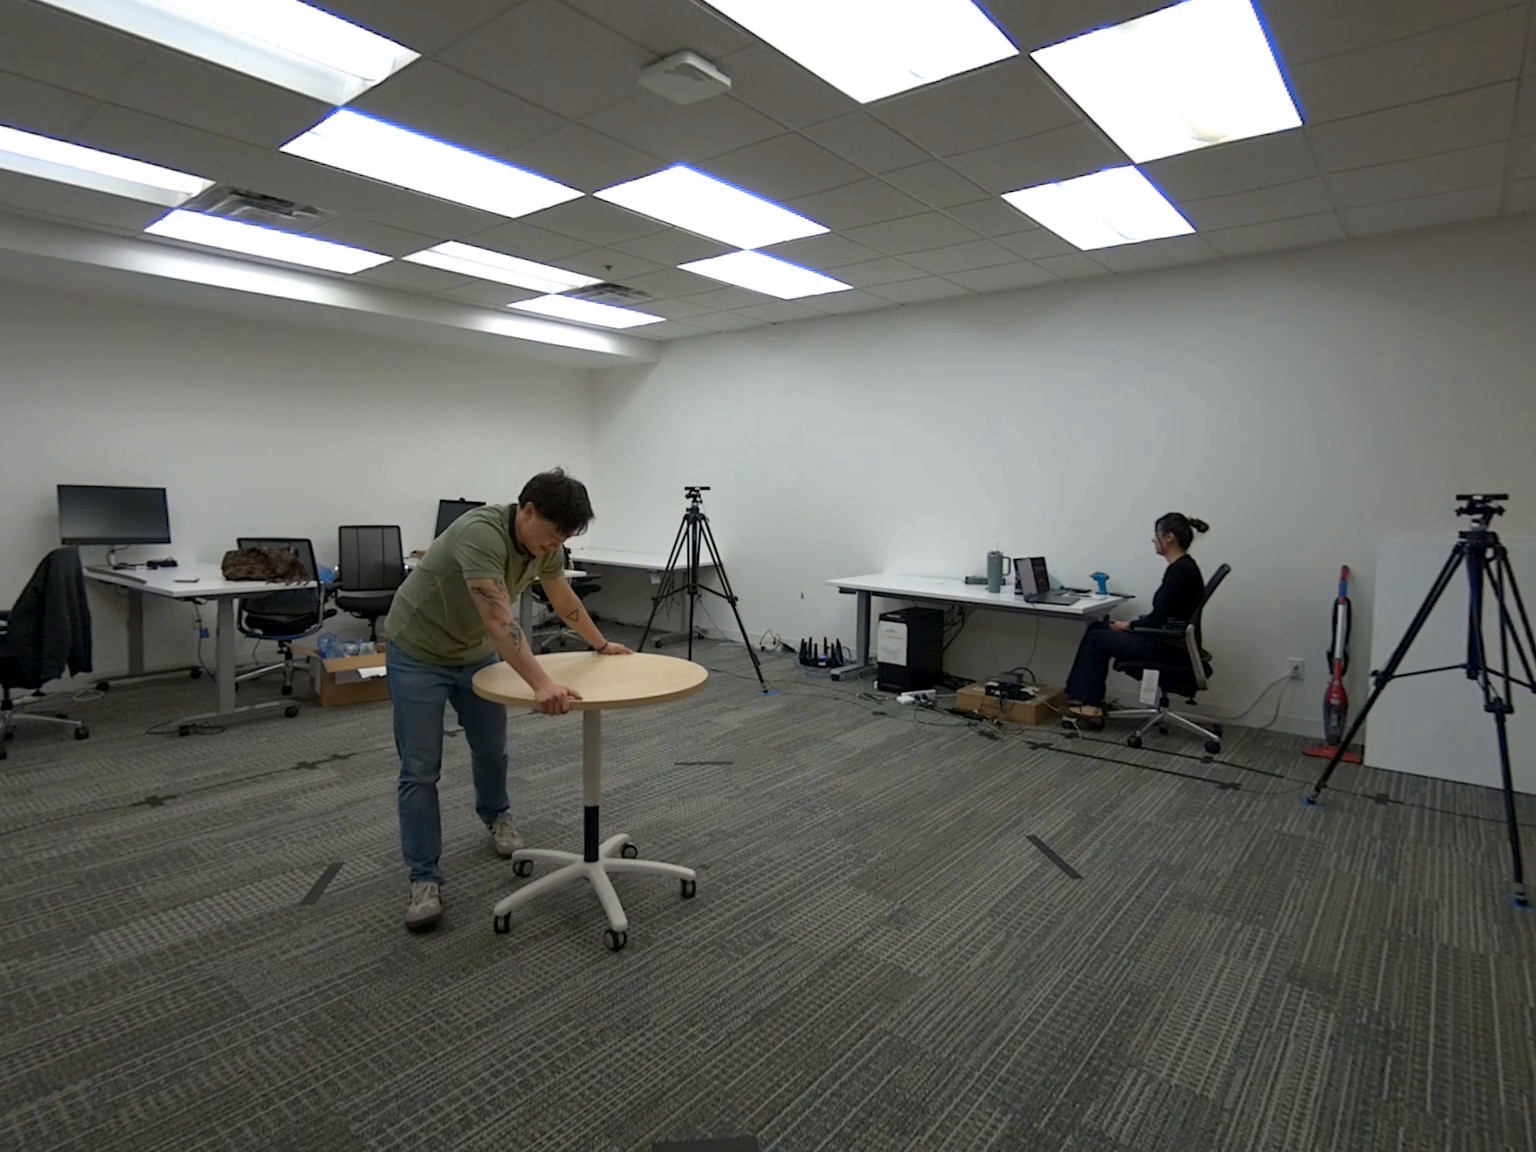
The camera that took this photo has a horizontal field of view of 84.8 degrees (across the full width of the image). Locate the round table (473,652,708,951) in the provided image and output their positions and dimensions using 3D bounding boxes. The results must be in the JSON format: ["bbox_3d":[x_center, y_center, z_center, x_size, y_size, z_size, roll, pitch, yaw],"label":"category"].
[{"bbox_3d":[-0.596,0.705,2.831,0.763,0.791,0.768,0,4,-2],"label":"round table"}]
